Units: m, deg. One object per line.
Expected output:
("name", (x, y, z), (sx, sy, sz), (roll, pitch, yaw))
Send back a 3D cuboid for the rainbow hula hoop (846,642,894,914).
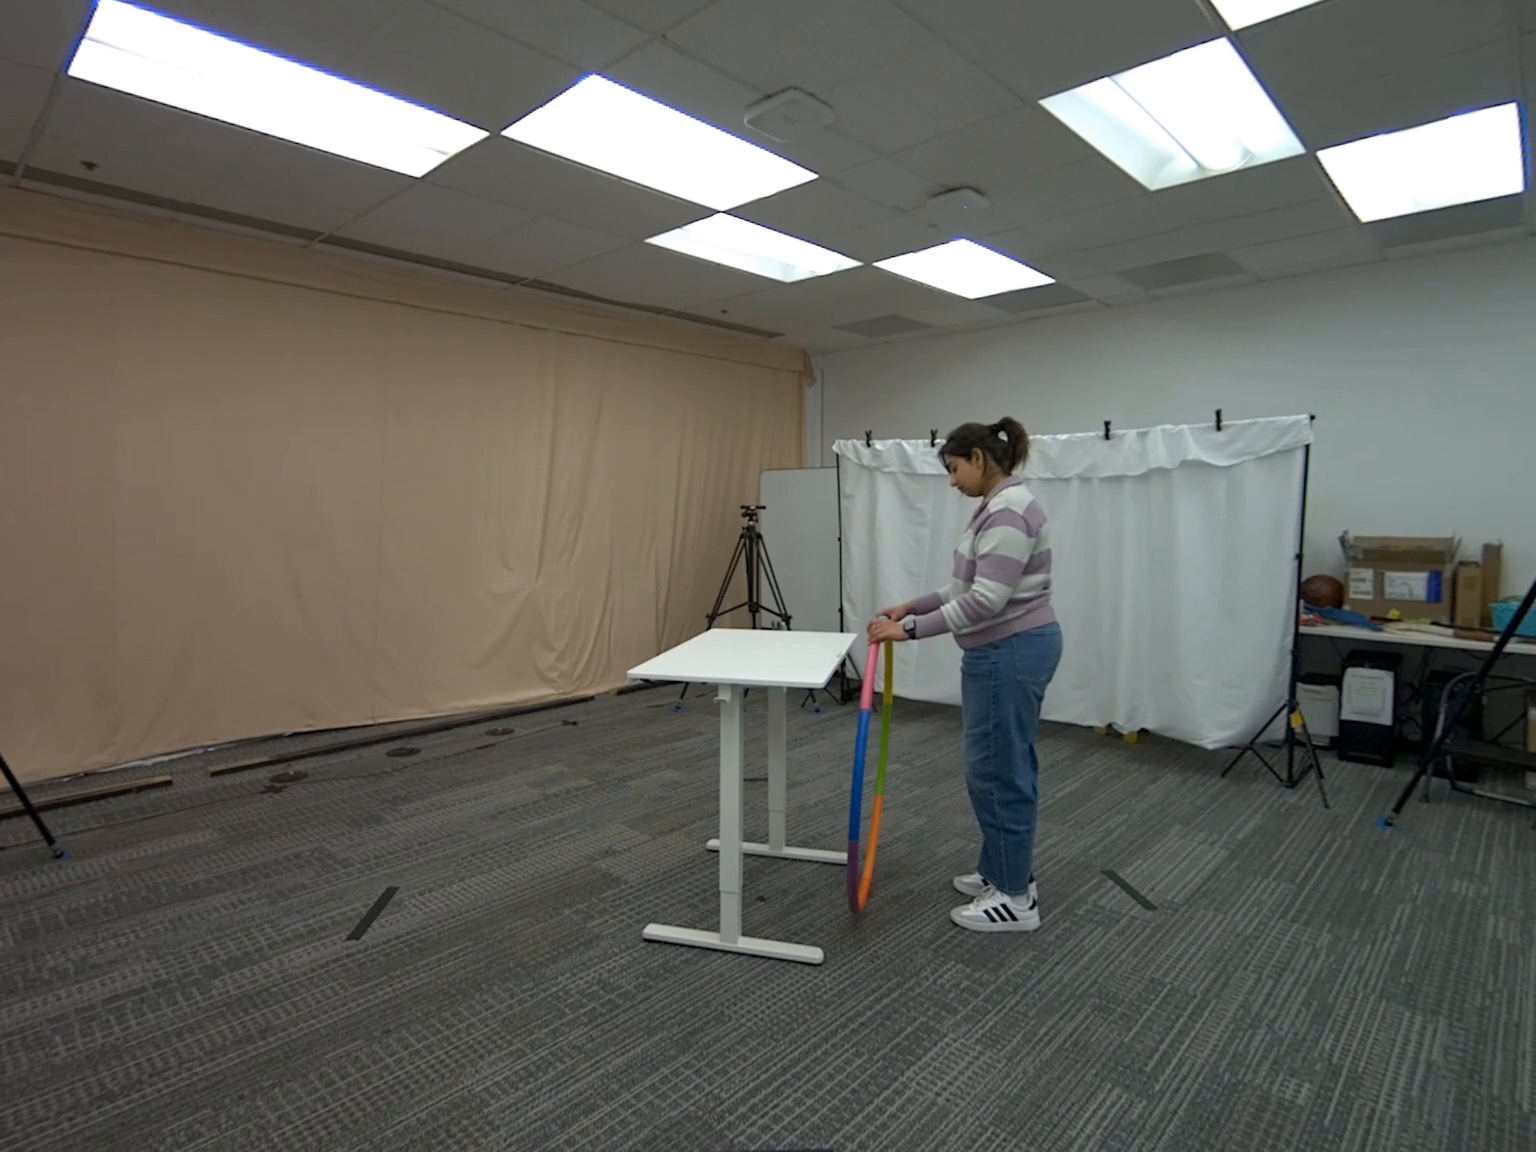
("rainbow hula hoop", (0.370, 0.641, 2.899), (0.036, 0.976, 0.965), (3, 4, 13))
